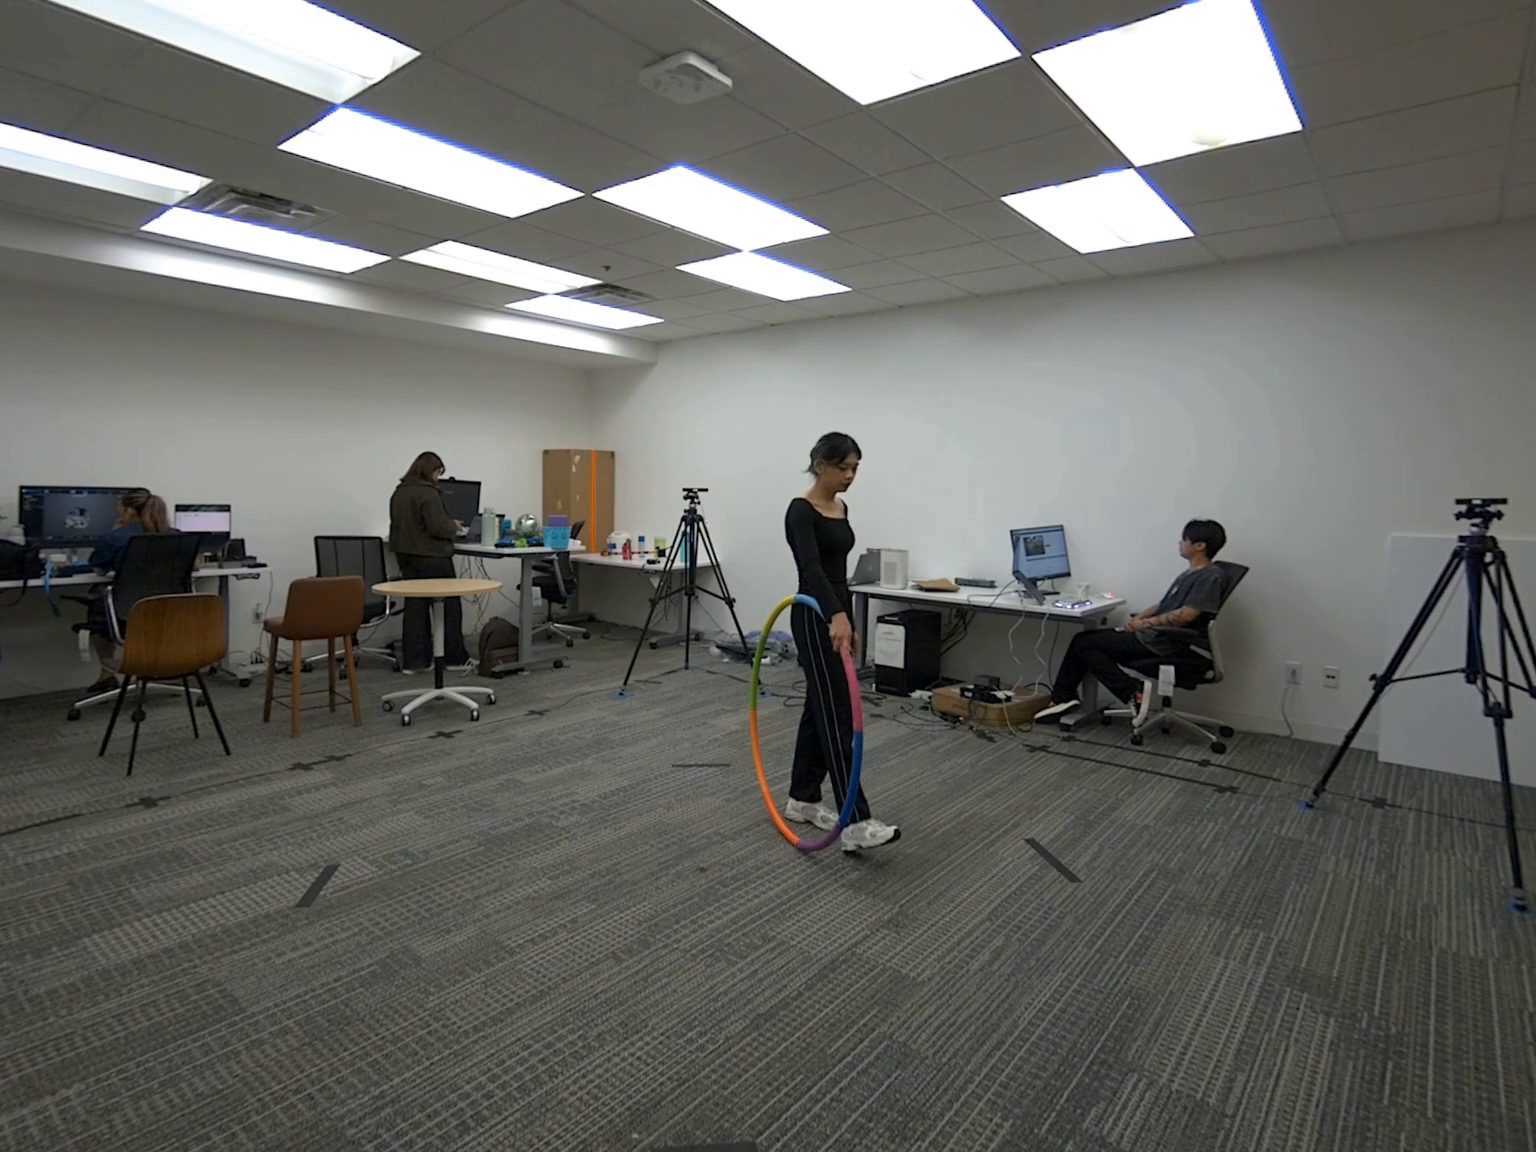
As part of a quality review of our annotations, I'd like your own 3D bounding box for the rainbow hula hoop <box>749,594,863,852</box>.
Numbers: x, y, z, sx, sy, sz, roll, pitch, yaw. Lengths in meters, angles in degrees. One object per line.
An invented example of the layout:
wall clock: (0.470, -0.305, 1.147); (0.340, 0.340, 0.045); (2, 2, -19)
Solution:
rainbow hula hoop: (0.110, 0.564, 3.363); (0.035, 0.976, 1.003); (2, 3, -23)
